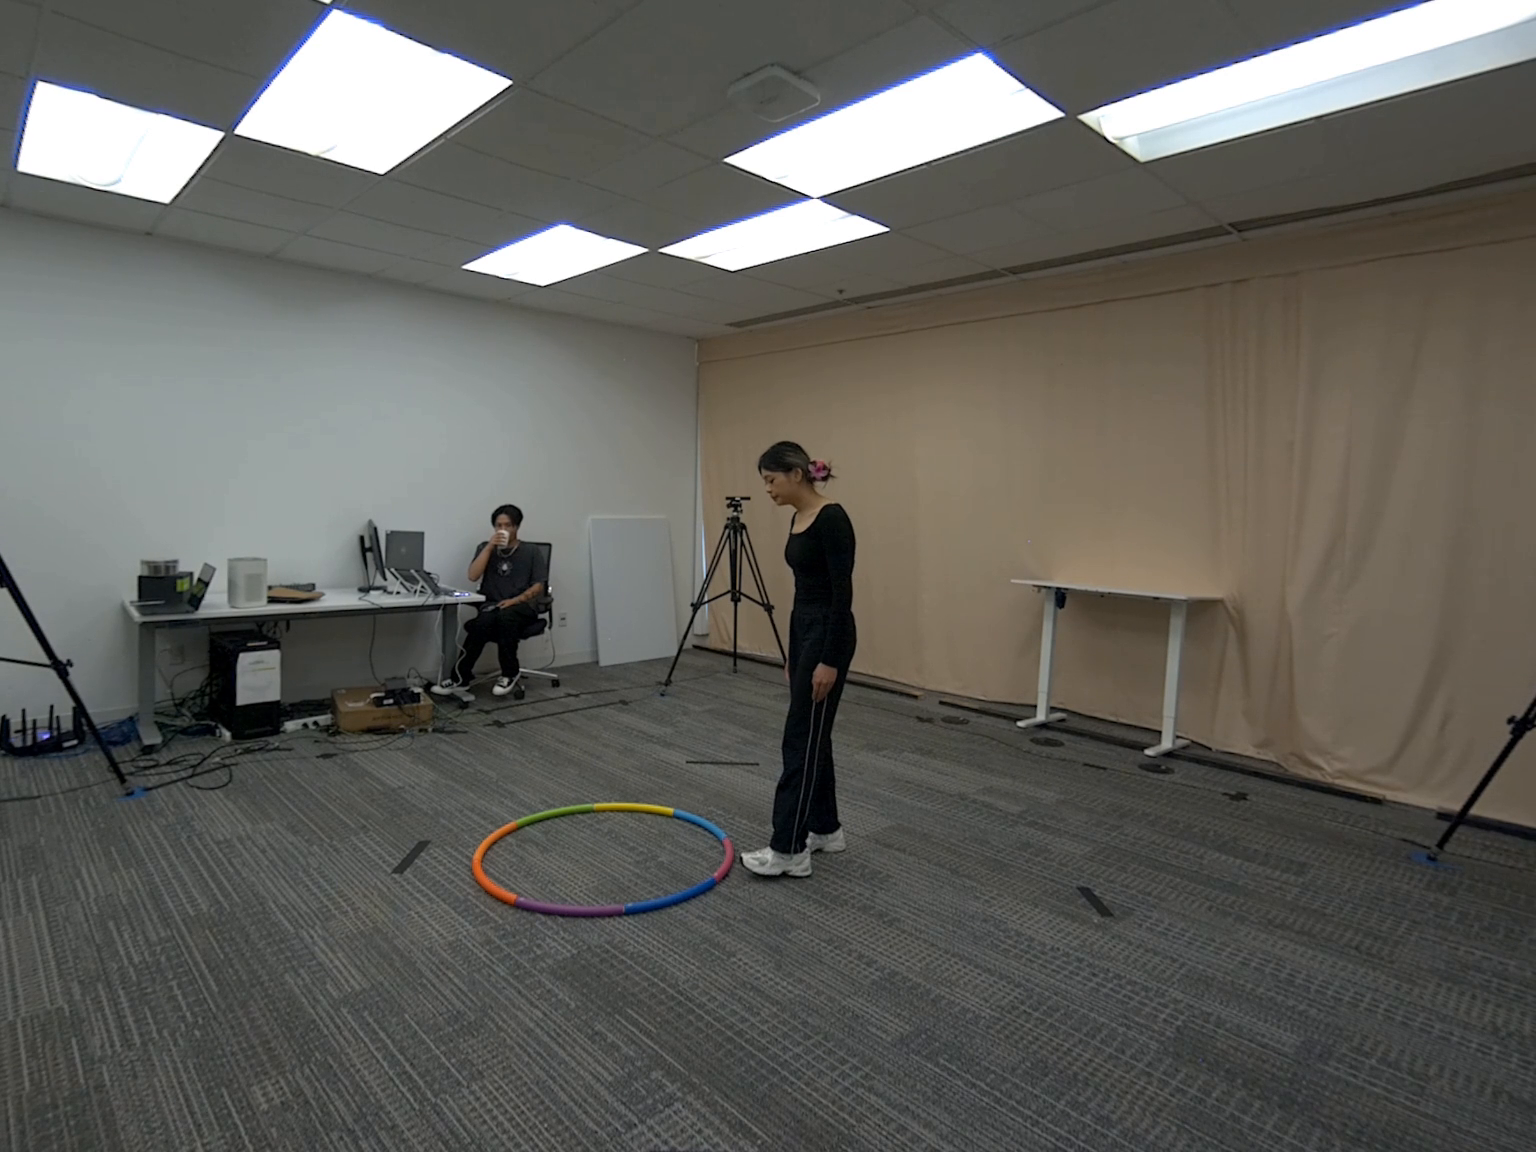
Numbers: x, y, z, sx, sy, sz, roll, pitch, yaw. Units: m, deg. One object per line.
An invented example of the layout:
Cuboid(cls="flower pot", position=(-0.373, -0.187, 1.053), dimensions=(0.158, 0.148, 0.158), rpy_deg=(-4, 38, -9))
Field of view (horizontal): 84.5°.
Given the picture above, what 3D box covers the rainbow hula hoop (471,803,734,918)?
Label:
Cuboid(cls="rainbow hula hoop", position=(-0.624, 1.054, 3.250), dimensions=(0.978, 0.035, 0.982), rpy_deg=(2, 5, -1))
